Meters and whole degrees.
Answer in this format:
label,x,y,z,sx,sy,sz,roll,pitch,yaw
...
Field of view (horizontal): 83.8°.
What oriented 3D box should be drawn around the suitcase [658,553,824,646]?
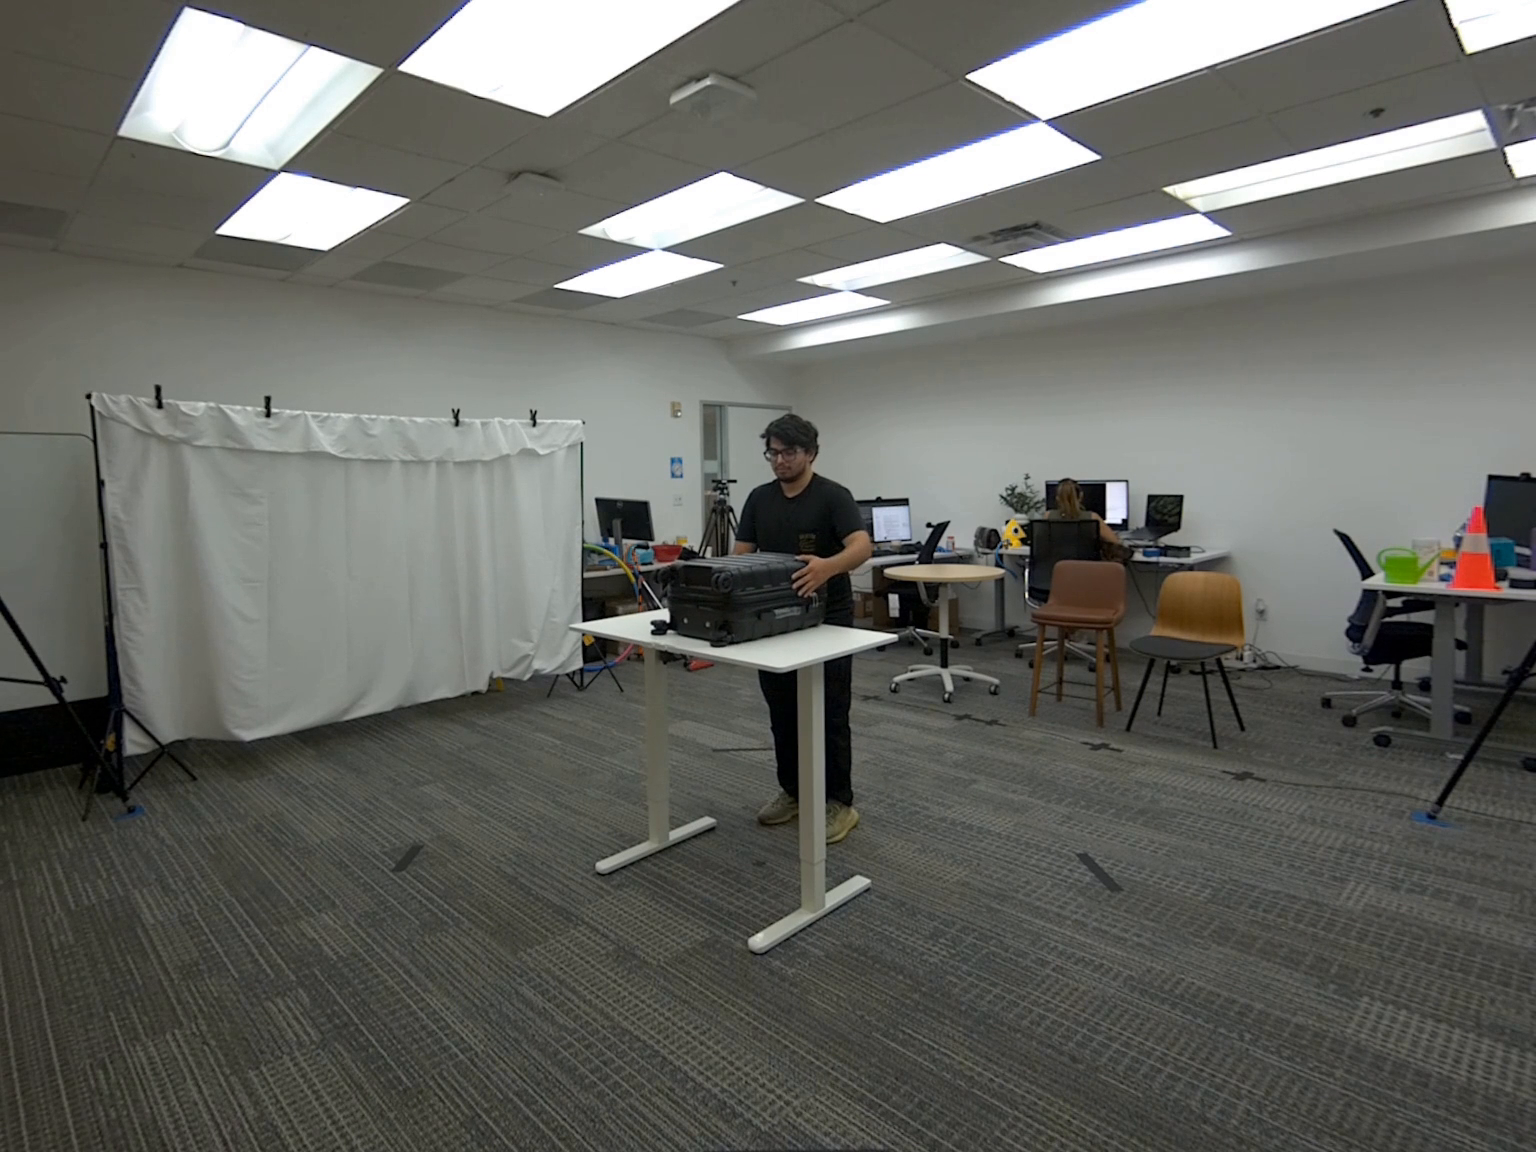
label,x,y,z,sx,sy,sz,roll,pitch,yaw
suitcase,-0.080,0.073,2.920,0.535,0.247,0.387,-7,8,-44
